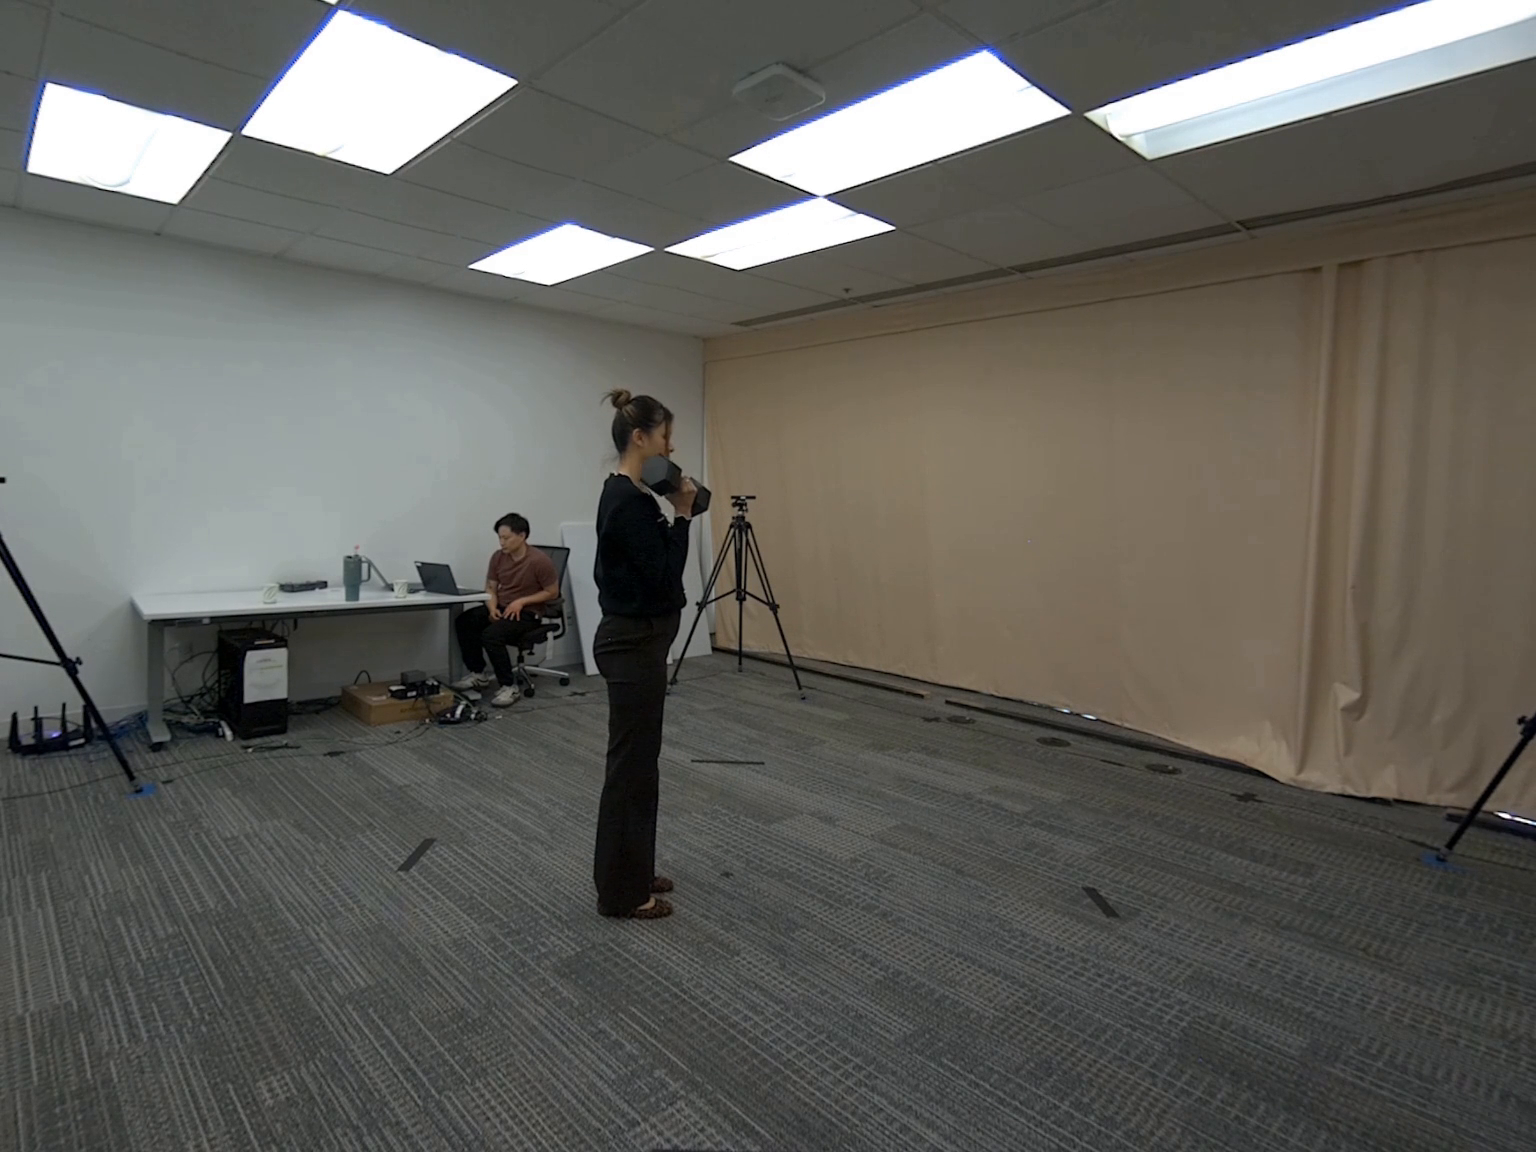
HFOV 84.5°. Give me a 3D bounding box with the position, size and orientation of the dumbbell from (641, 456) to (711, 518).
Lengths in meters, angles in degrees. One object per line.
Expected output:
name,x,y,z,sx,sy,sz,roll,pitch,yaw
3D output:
dumbbell,-0.298,-0.285,2.644,0.124,0.111,0.286,-22,-22,16
